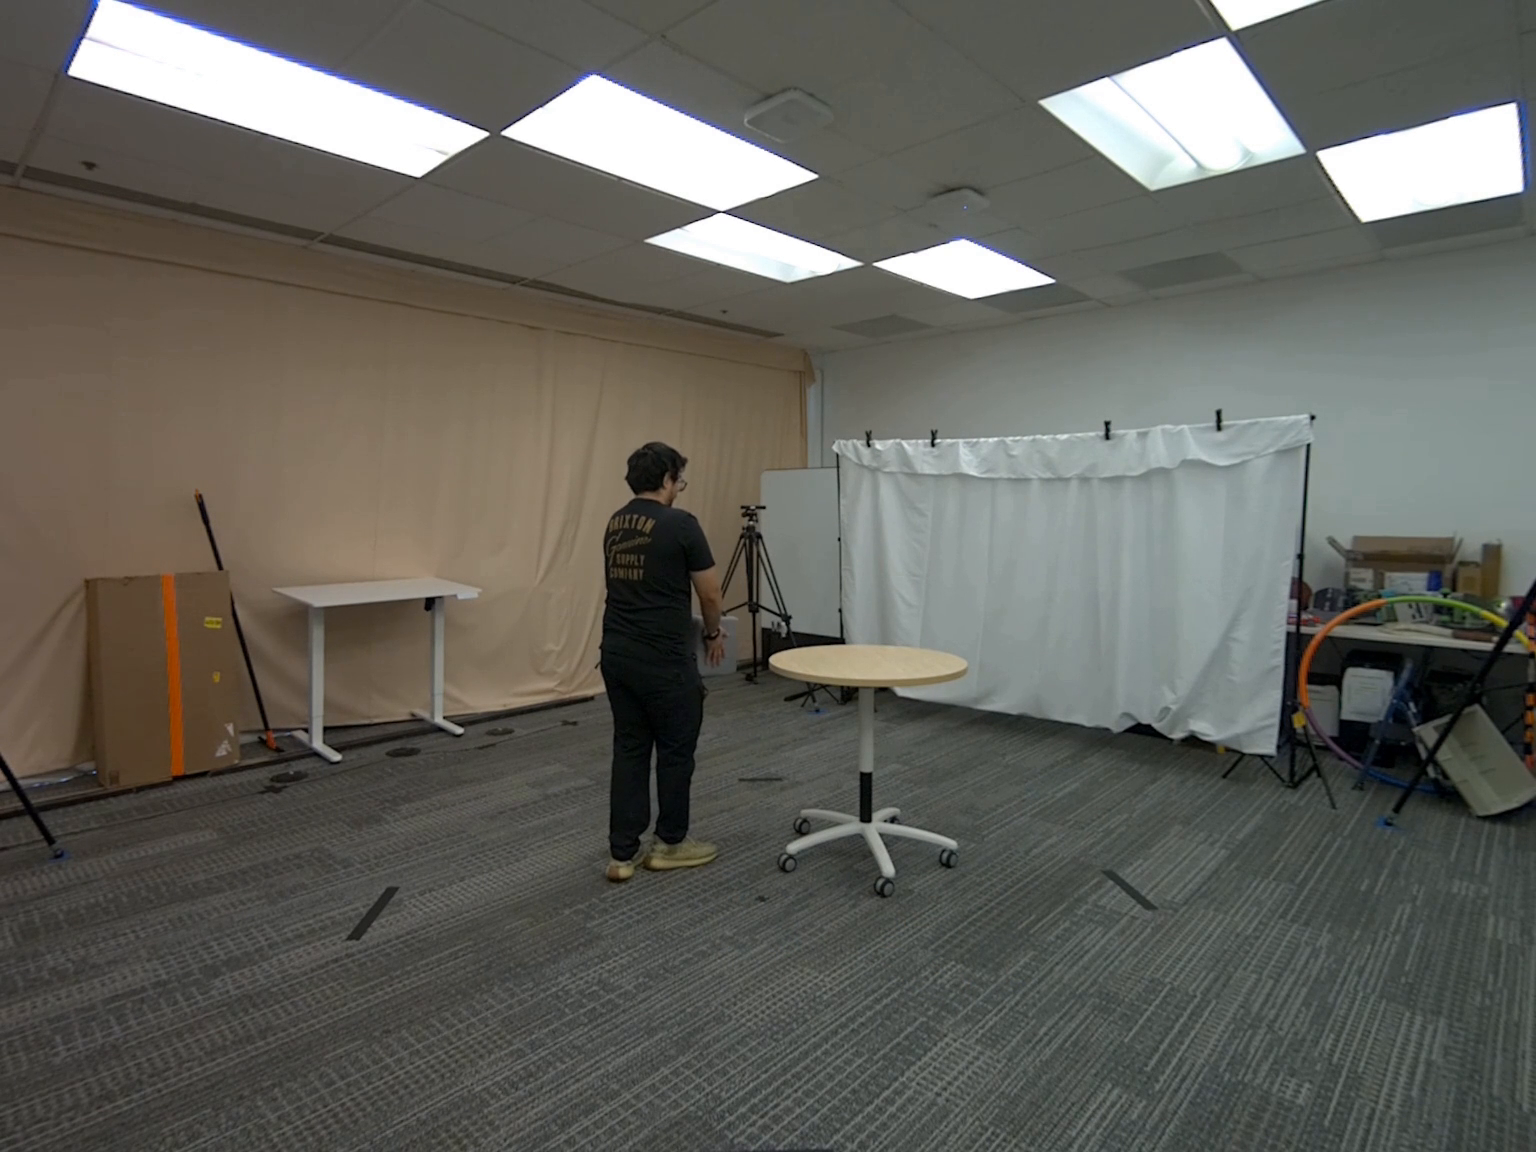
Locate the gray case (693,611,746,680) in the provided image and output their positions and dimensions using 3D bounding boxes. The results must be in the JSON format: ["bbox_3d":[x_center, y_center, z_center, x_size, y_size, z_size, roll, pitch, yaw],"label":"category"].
[{"bbox_3d":[-0.229,0.282,3.493,0.108,0.260,0.248,3,1,44],"label":"gray case"}]
